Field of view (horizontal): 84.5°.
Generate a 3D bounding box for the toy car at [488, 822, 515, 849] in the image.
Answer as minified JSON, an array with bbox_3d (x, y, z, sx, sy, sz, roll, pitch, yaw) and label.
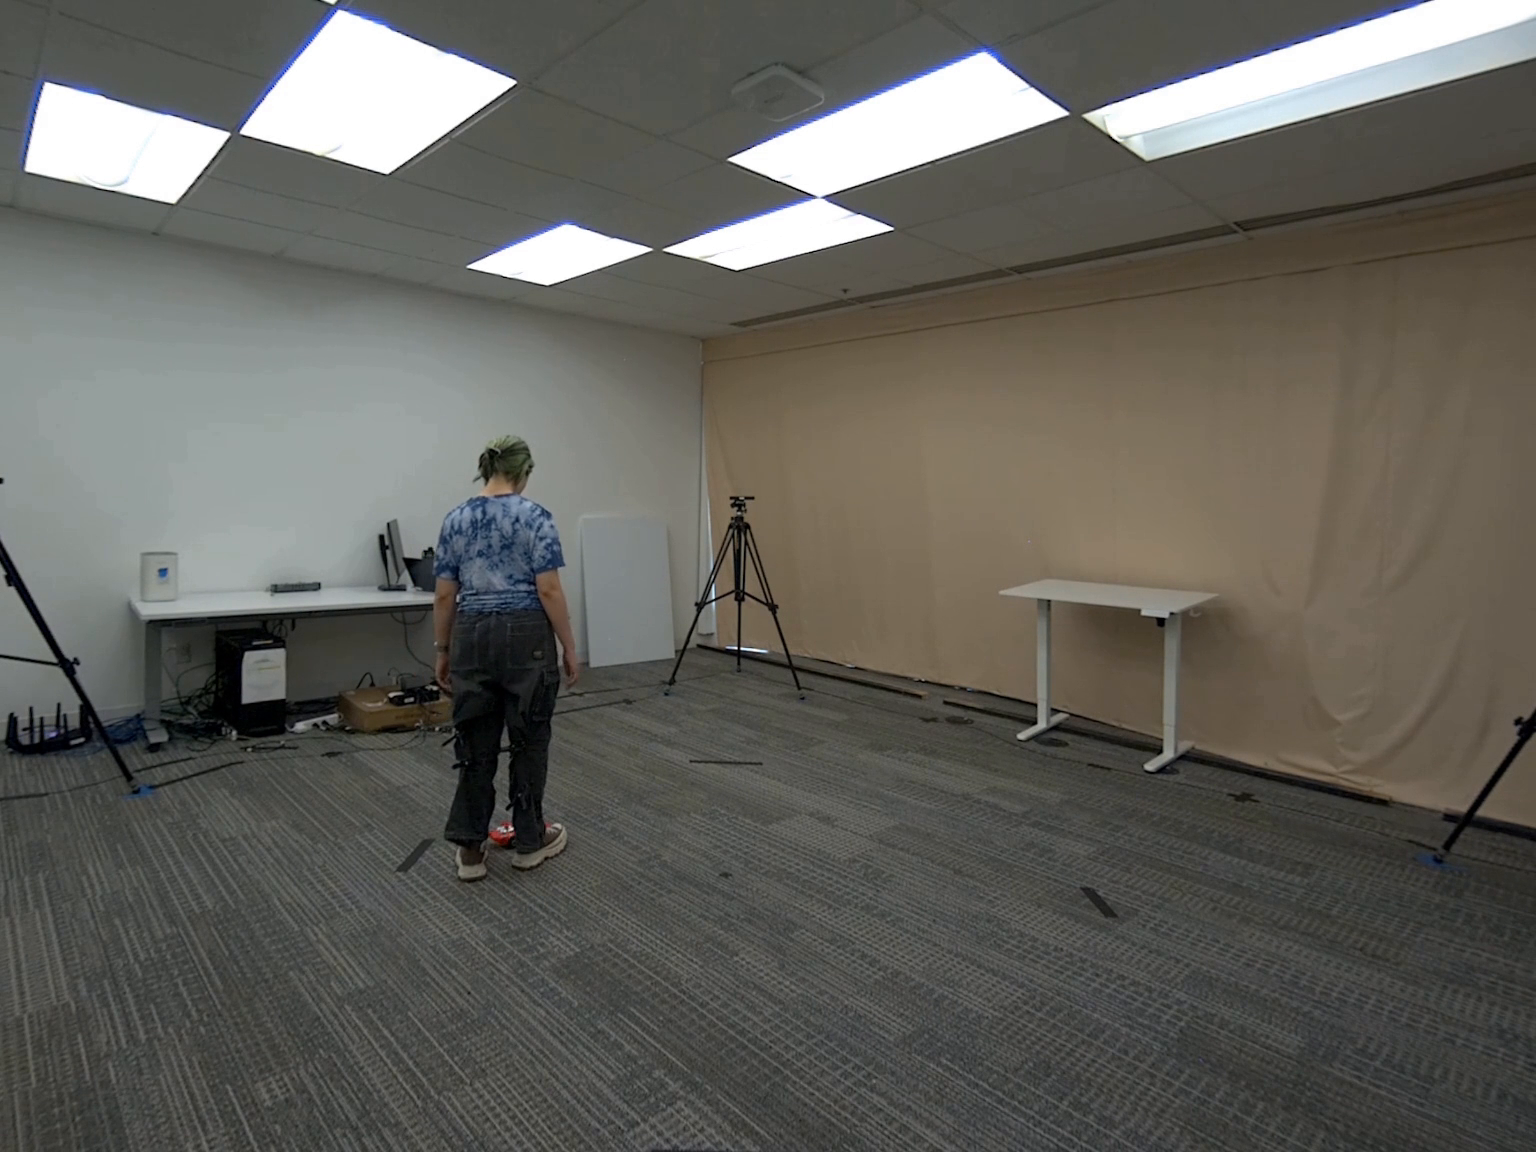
[{"bbox_3d":[-1.003,1.029,3.361,0.247,0.083,0.133,13,-5,-43],"label":"toy car"}]
